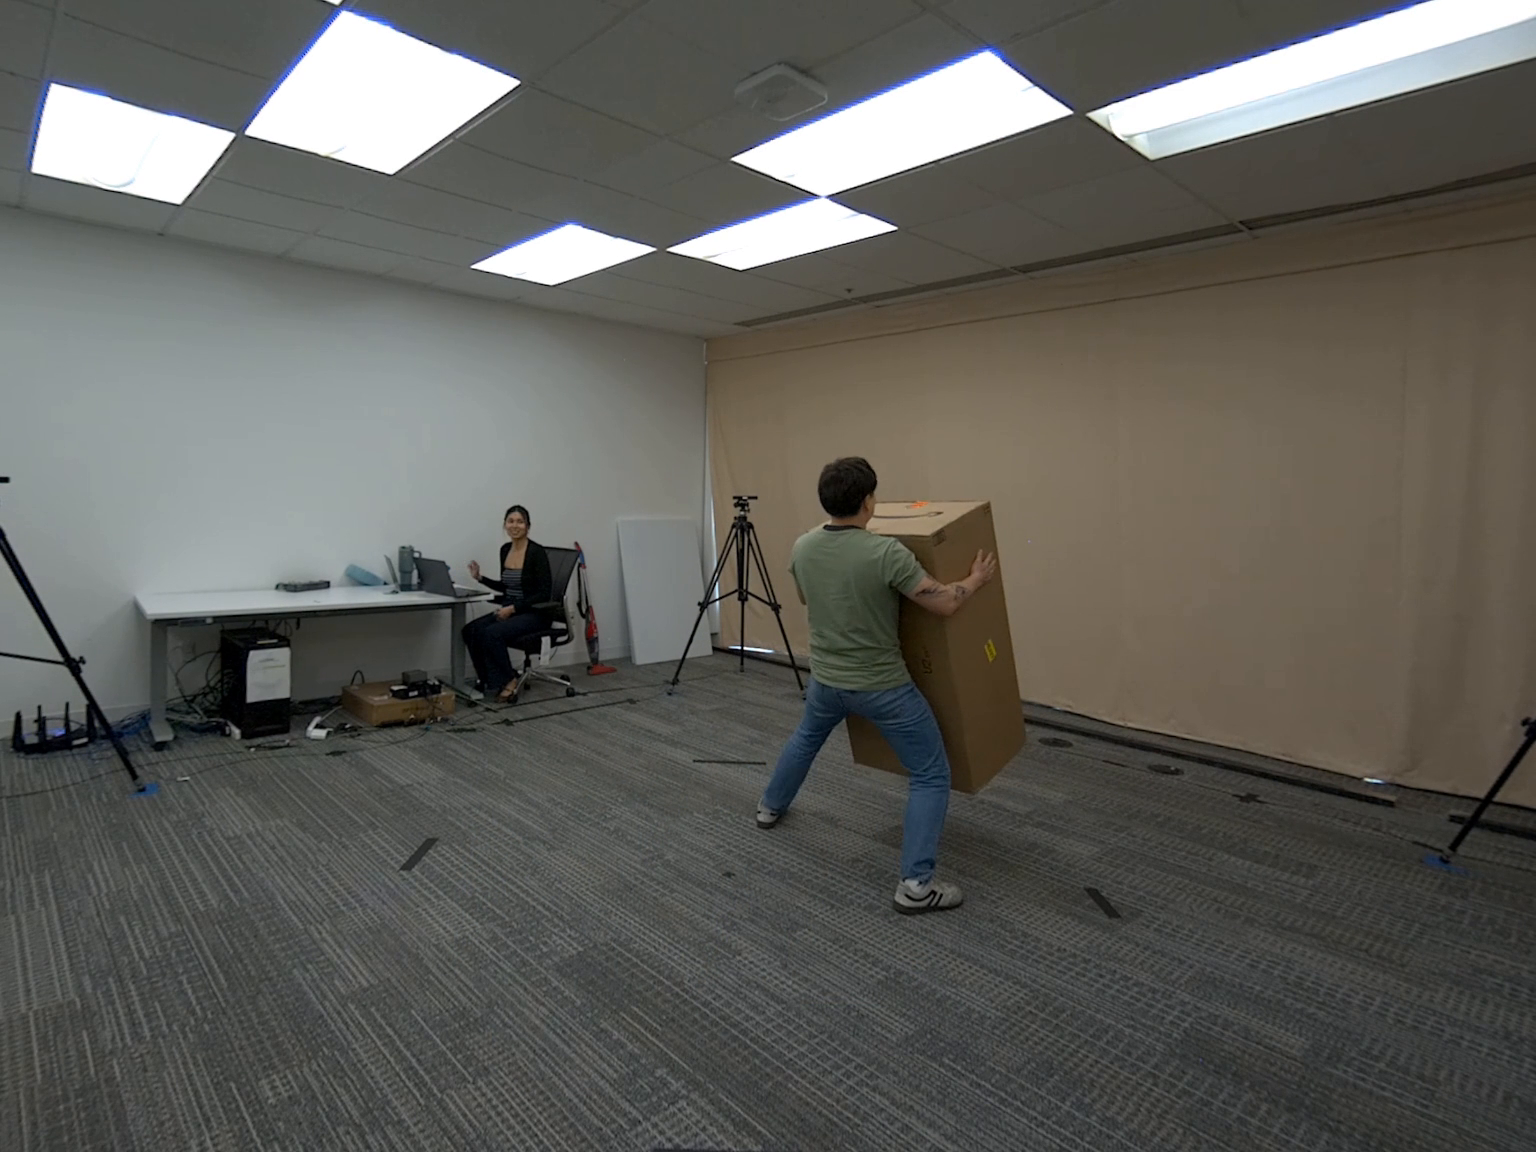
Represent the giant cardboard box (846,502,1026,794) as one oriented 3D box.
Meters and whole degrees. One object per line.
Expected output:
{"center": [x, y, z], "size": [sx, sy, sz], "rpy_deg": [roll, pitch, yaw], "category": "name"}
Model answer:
{"center": [0.594, 0.258, 3.367], "size": [0.421, 1.013, 0.592], "rpy_deg": [-24, 18, -40], "category": "giant cardboard box"}
